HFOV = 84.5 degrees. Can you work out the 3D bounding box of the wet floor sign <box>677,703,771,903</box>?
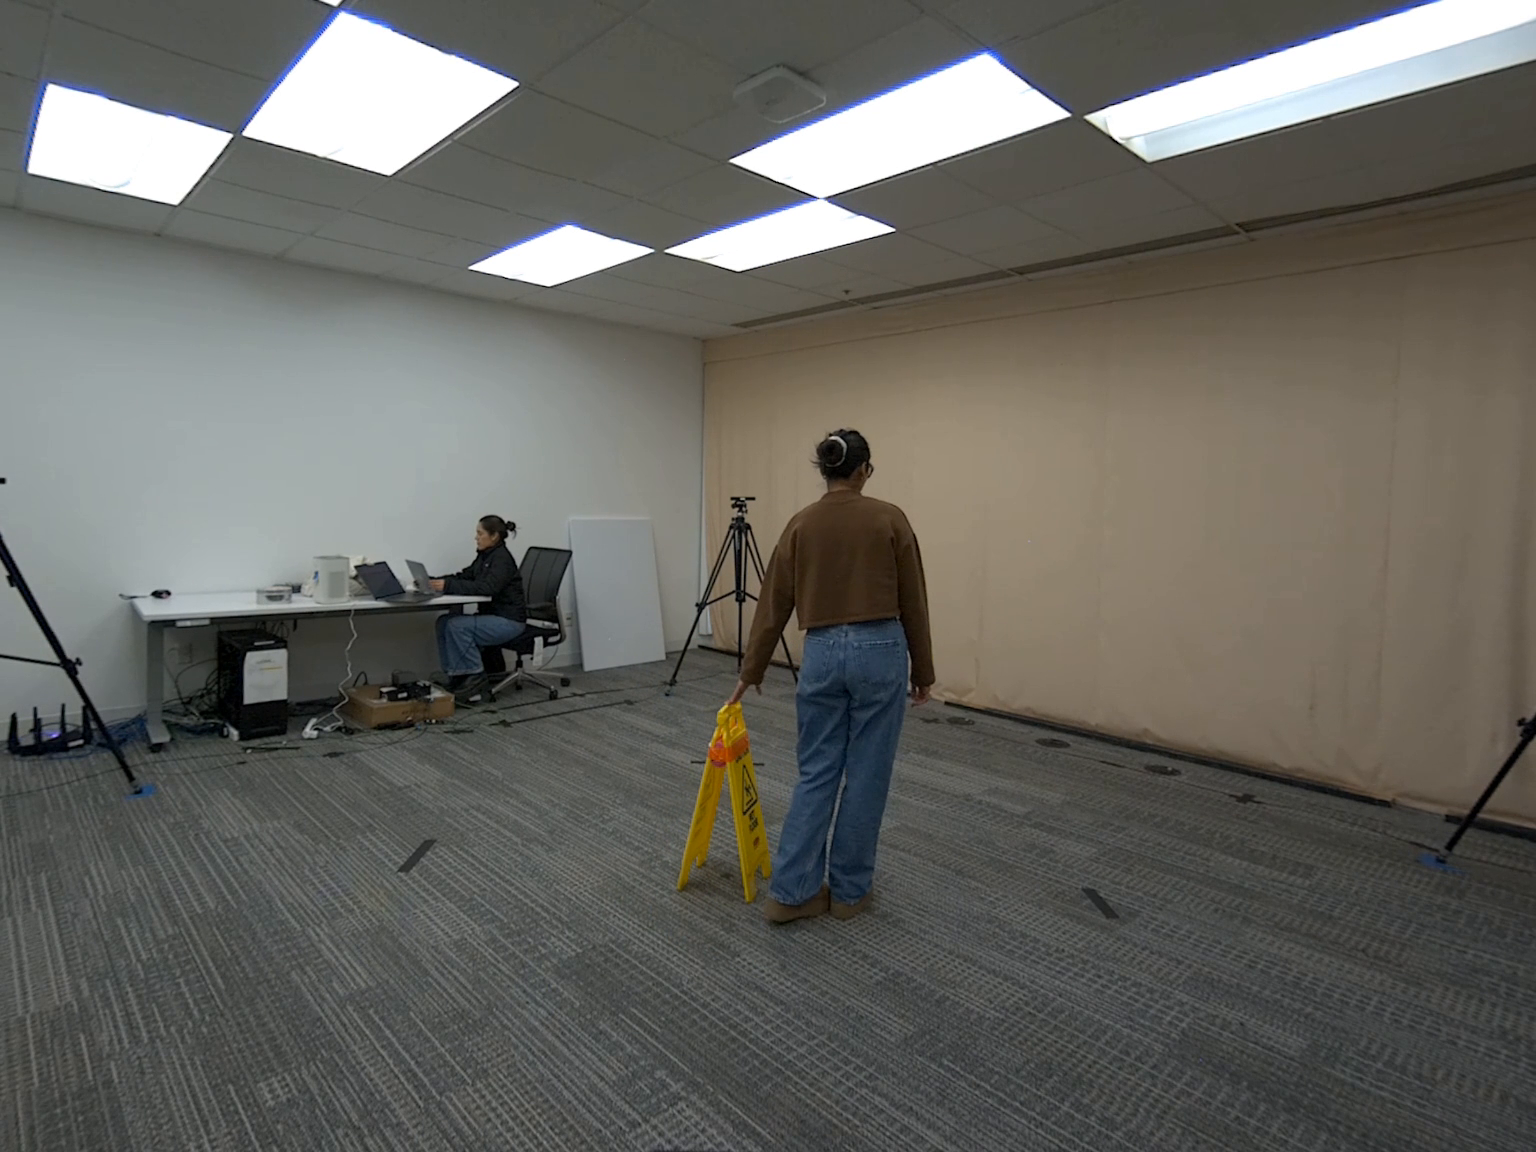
[{"bbox_3d":[-0.150,0.789,3.045,0.294,0.644,0.279,3,4,17],"label":"wet floor sign"}]
